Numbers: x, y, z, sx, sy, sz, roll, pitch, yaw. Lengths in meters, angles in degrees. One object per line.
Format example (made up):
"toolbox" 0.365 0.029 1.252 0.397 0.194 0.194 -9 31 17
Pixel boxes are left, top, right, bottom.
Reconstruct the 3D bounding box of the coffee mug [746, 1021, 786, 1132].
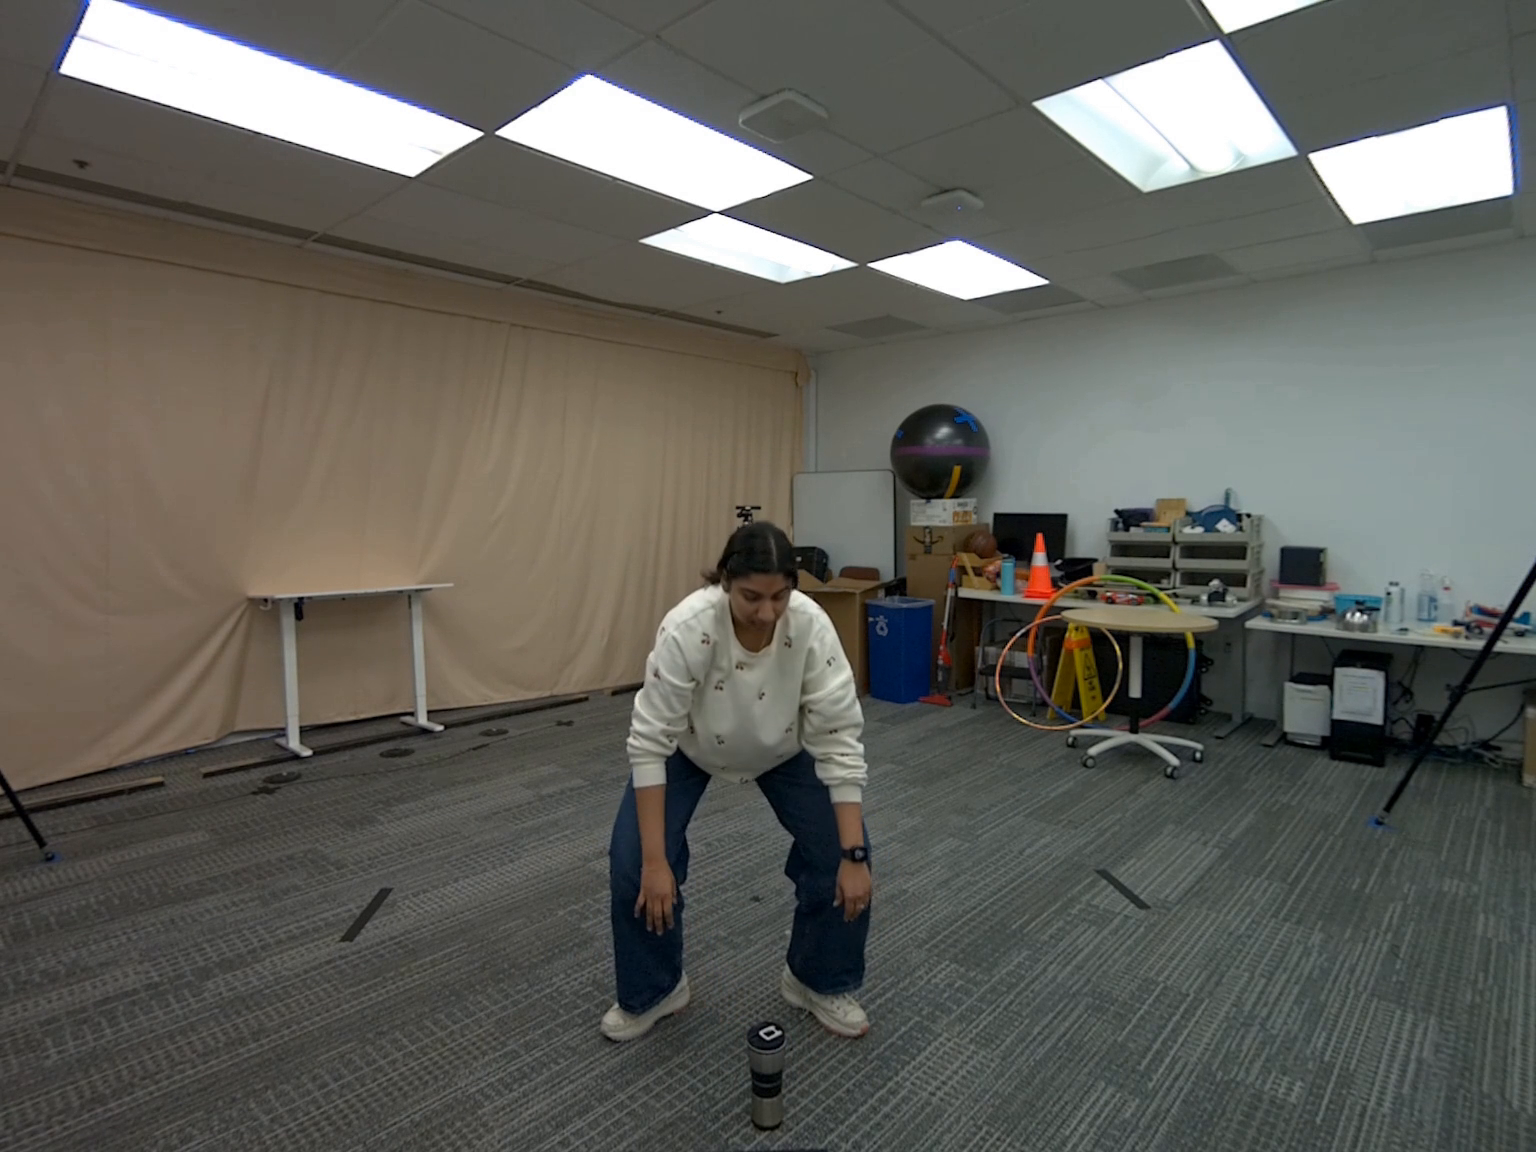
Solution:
"coffee mug" -0.010 1.137 1.916 0.126 0.202 0.085 9 11 44
